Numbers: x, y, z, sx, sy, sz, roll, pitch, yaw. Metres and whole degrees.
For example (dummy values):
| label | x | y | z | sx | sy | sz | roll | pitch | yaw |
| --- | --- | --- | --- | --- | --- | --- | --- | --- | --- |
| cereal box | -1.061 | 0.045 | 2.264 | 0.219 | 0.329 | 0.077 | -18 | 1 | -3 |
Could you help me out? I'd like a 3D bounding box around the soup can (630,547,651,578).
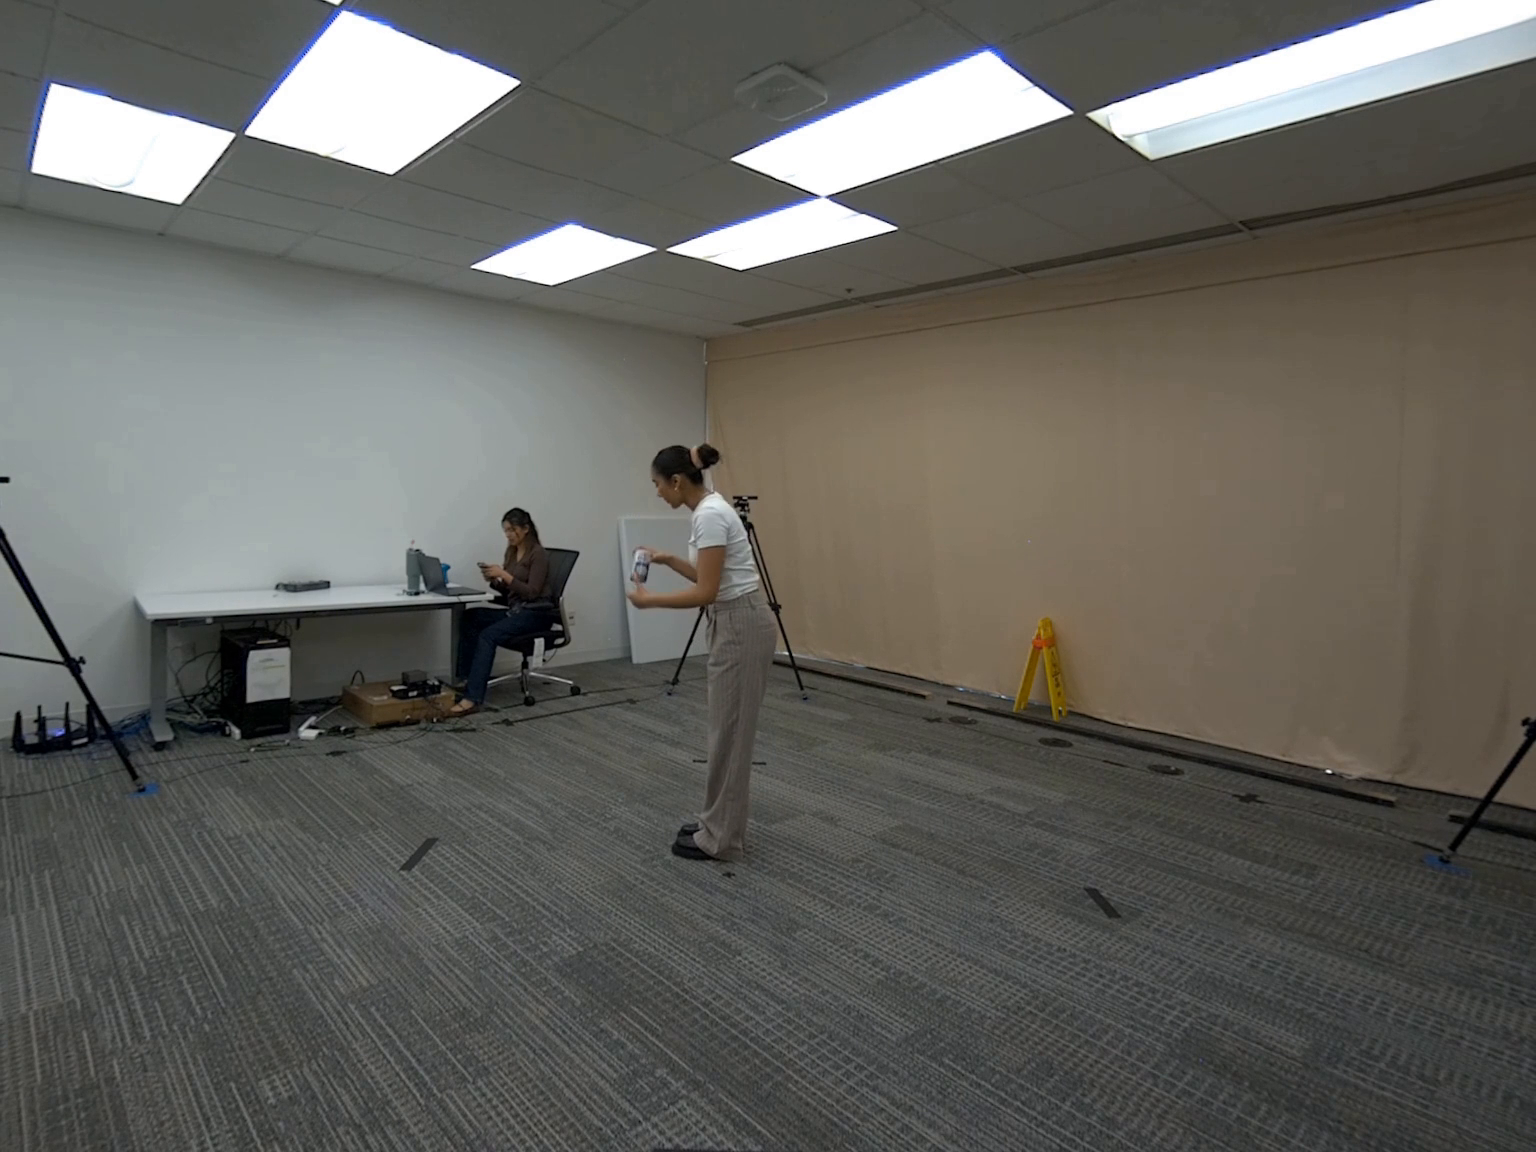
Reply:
| label | x | y | z | sx | sy | sz | roll | pitch | yaw |
| --- | --- | --- | --- | --- | --- | --- | --- | --- | --- |
| soup can | -0.503 | -0.096 | 3.306 | 0.067 | 0.122 | 0.066 | 7 | -12 | 0 |
